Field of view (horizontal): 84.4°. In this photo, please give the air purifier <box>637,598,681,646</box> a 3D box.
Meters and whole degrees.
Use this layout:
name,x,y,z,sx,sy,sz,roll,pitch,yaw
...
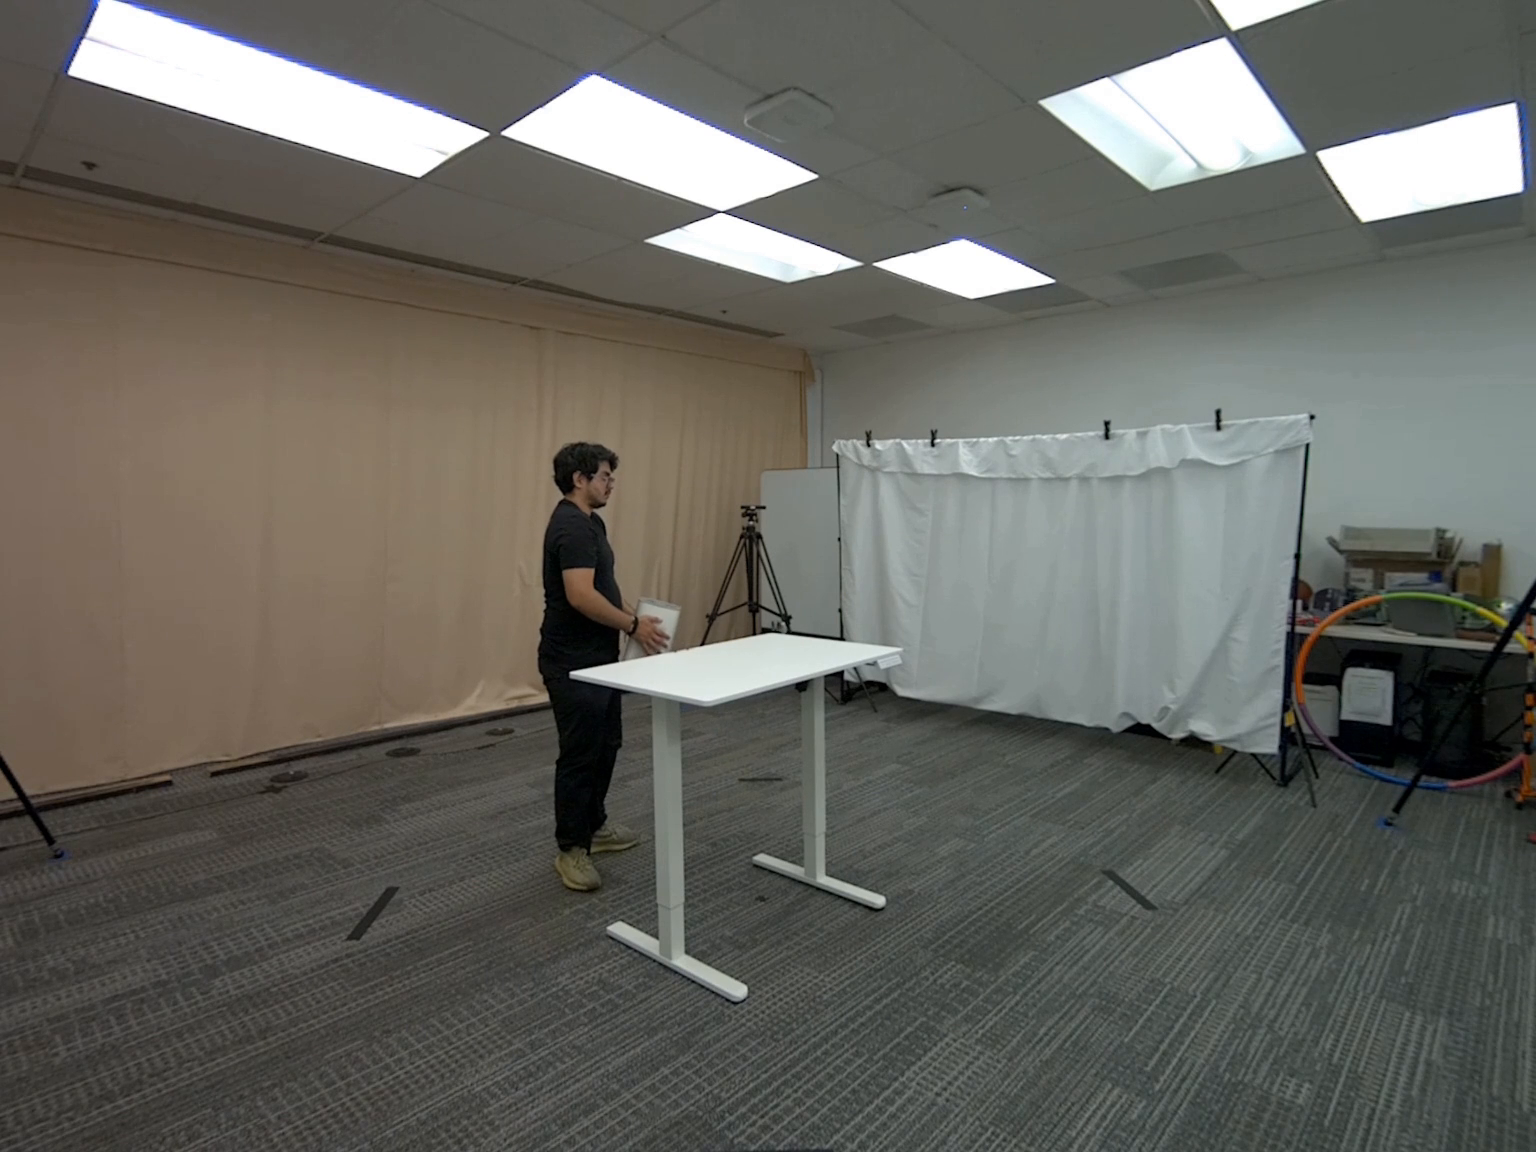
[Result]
name,x,y,z,sx,sy,sz,roll,pitch,yaw
air purifier,-0.458,0.232,3.261,0.170,0.265,0.172,13,0,-8
